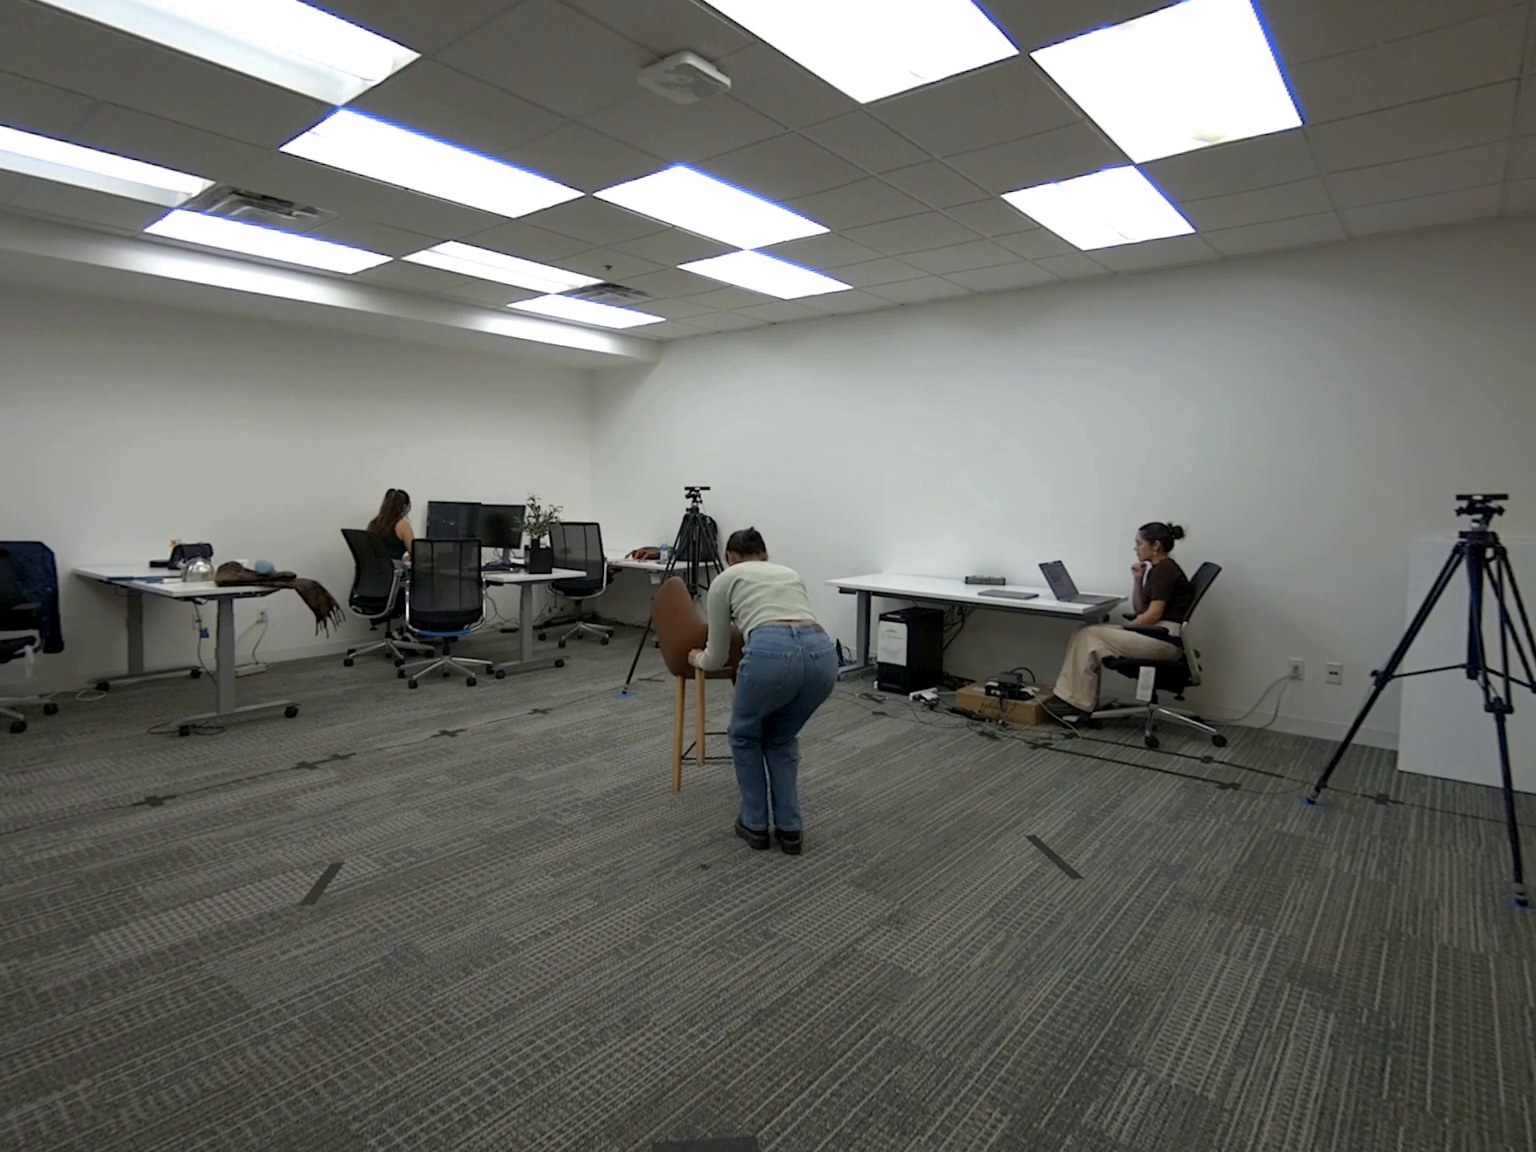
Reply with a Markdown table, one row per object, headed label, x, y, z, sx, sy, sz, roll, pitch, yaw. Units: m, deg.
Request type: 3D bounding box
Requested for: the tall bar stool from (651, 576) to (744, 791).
| label | x | y | z | sx | sy | sz | roll | pitch | yaw |
| --- | --- | --- | --- | --- | --- | --- | --- | --- | --- |
| tall bar stool | -0.229 | 0.473 | 3.825 | 0.457 | 0.918 | 0.452 | 0 | -33 | -23 |
